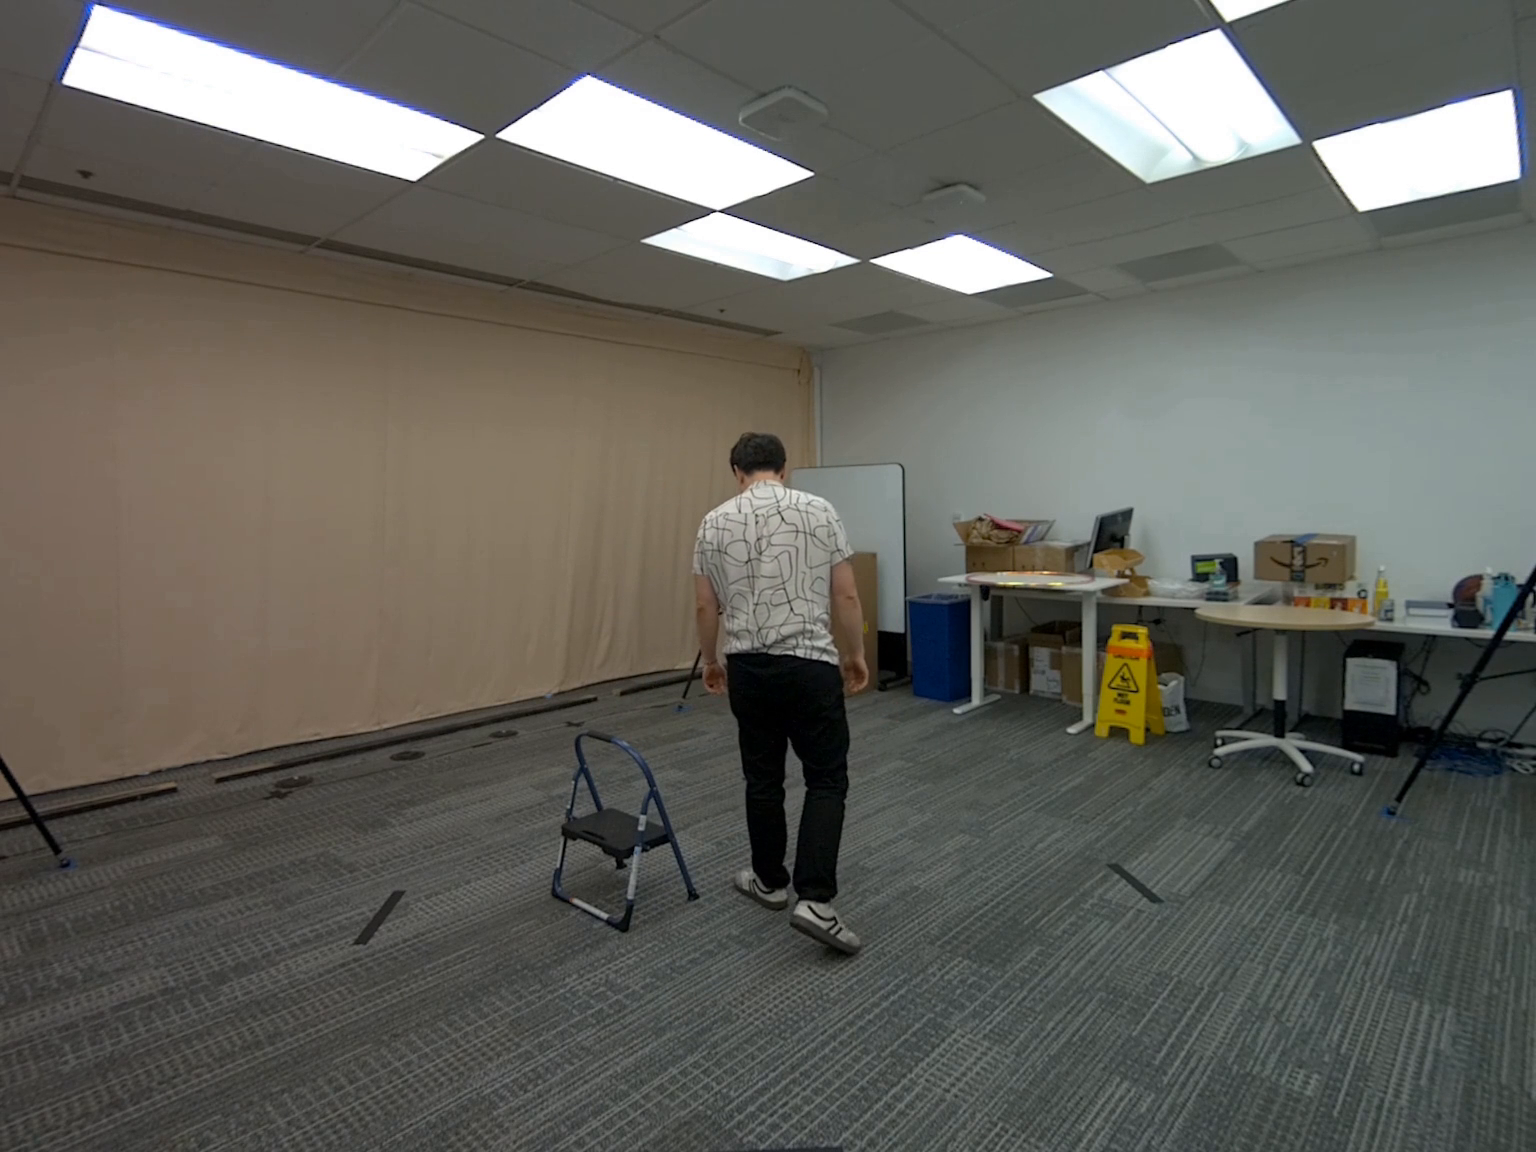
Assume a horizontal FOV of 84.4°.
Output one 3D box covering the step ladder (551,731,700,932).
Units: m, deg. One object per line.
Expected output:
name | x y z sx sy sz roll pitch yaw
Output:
step ladder | -0.523 0.845 3.003 0.445 0.605 0.339 2 4 41
